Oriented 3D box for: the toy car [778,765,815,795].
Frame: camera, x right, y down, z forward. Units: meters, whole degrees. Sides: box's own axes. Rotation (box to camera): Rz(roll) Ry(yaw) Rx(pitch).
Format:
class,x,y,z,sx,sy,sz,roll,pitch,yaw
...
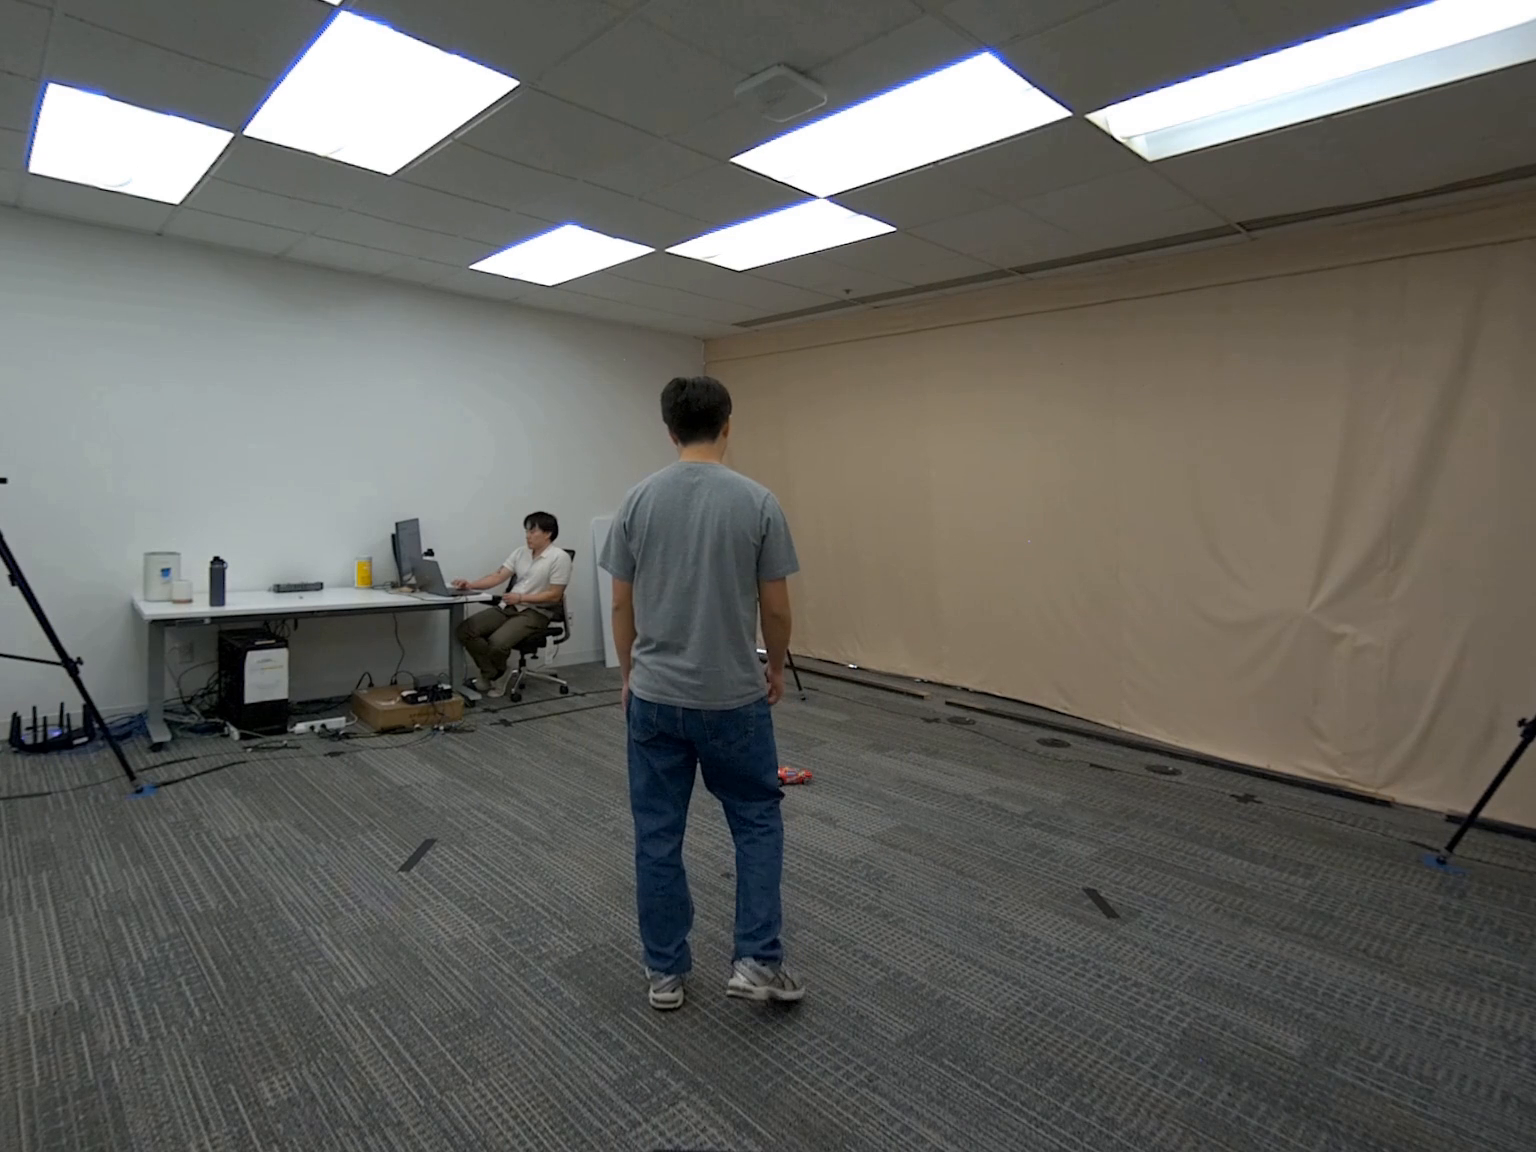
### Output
class,x,y,z,sx,sy,sz,roll,pitch,yaw
toy car,0.079,0.993,4.162,0.250,0.083,0.132,13,0,-19
